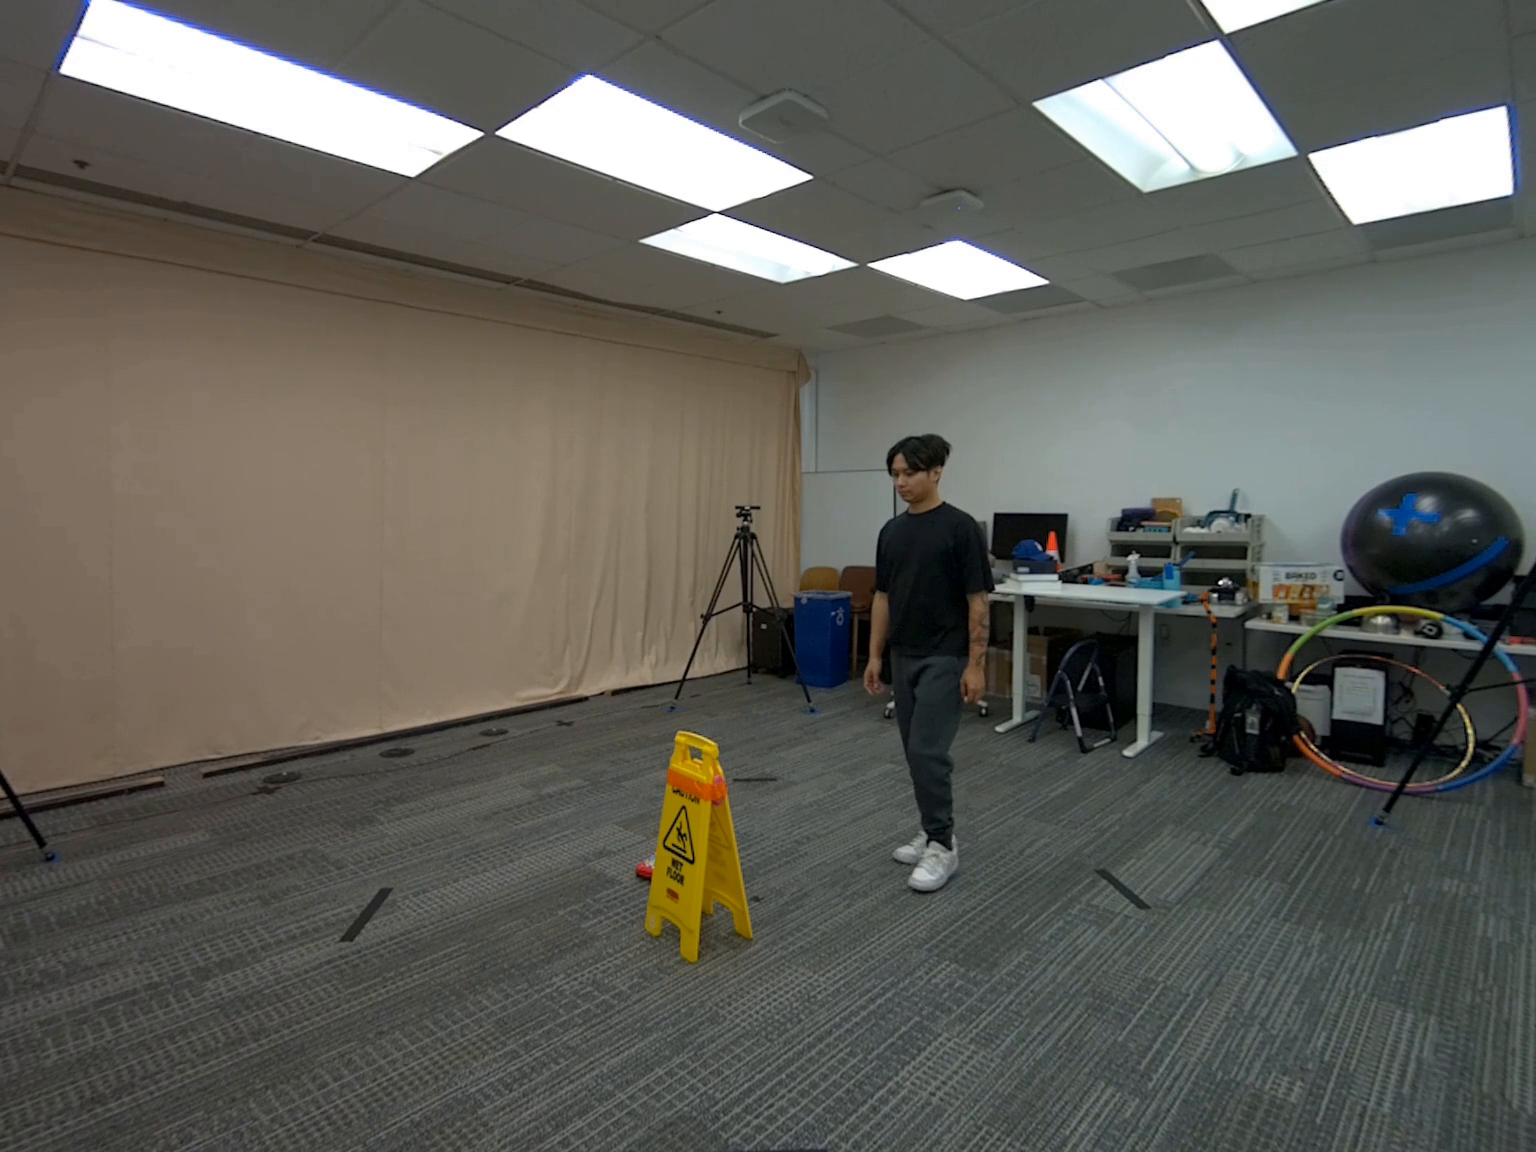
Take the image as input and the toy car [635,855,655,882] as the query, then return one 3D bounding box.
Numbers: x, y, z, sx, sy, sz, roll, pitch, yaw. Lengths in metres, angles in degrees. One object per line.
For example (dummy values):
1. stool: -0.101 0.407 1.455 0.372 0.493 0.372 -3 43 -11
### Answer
1. toy car: -0.398 1.100 3.227 0.134 0.082 0.250 1 16 30
